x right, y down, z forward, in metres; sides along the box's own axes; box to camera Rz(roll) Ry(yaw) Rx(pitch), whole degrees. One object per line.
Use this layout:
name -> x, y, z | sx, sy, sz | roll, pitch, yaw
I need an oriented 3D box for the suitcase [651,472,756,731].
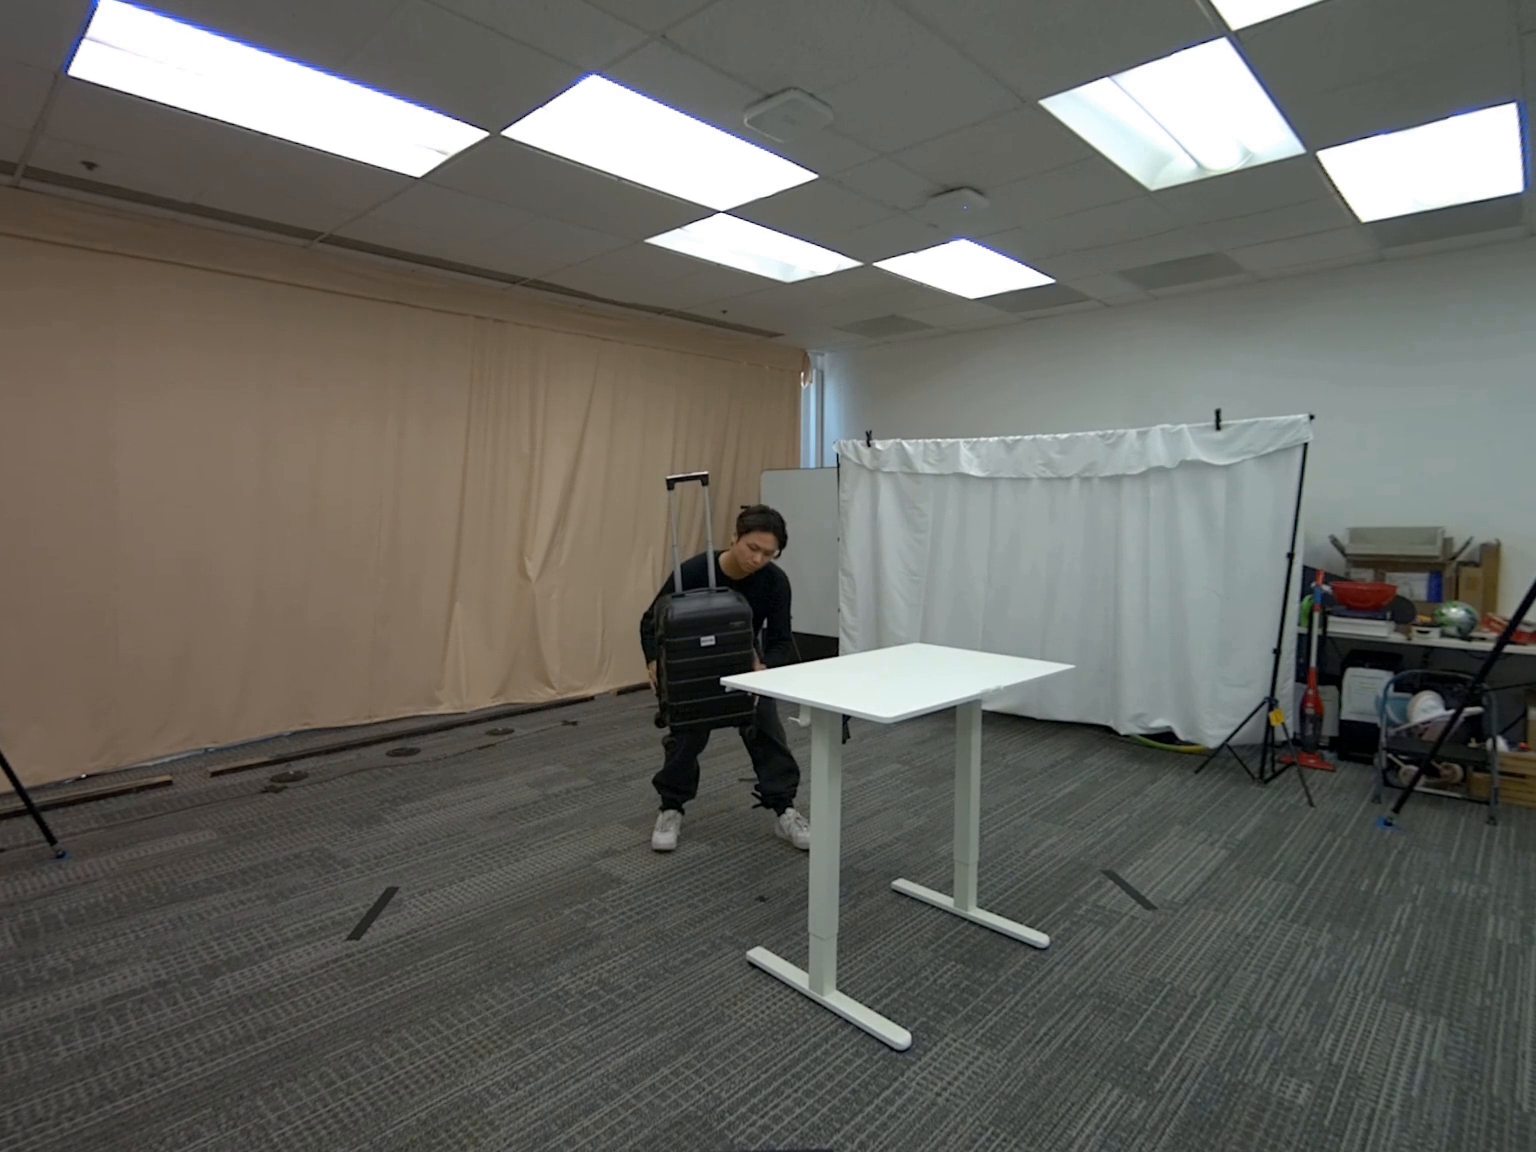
suitcase -> -0.244, 0.134, 3.100 | 0.381, 0.969, 0.261 | -4, 15, -8
